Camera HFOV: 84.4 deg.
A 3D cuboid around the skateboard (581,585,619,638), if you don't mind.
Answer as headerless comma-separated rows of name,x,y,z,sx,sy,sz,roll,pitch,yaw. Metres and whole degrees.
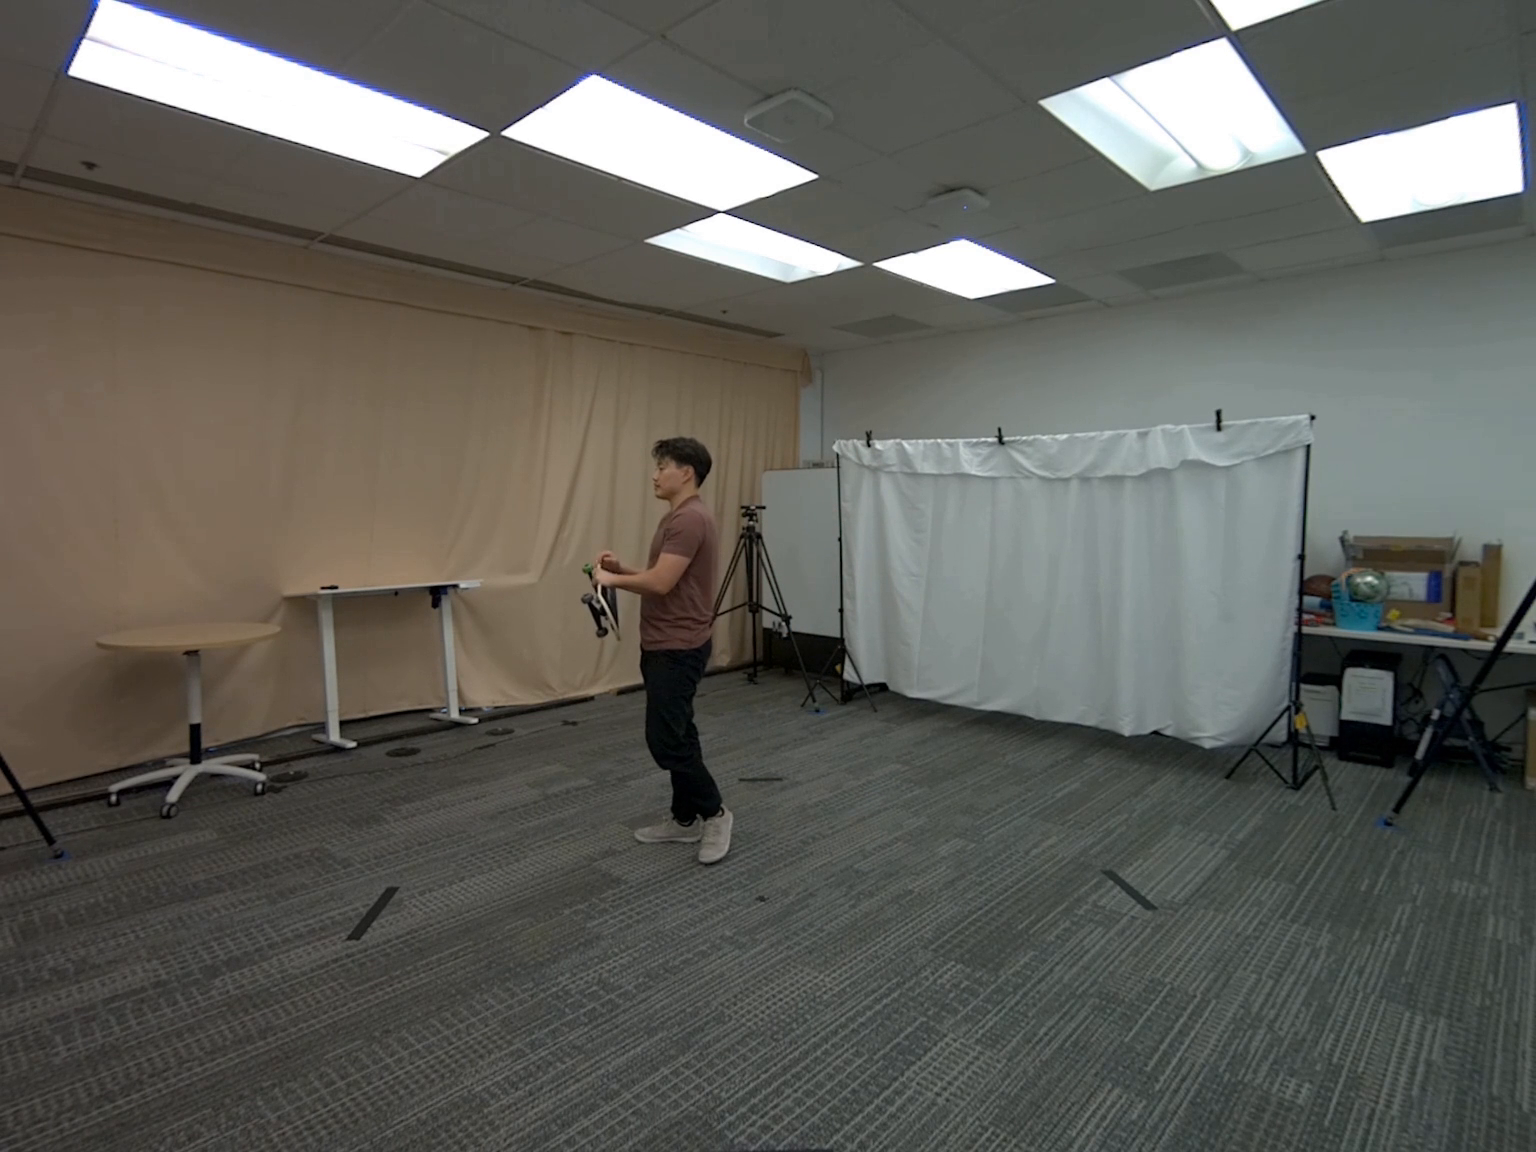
skateboard,-0.692,0.087,3.501,0.110,0.190,0.801,-22,19,-4
